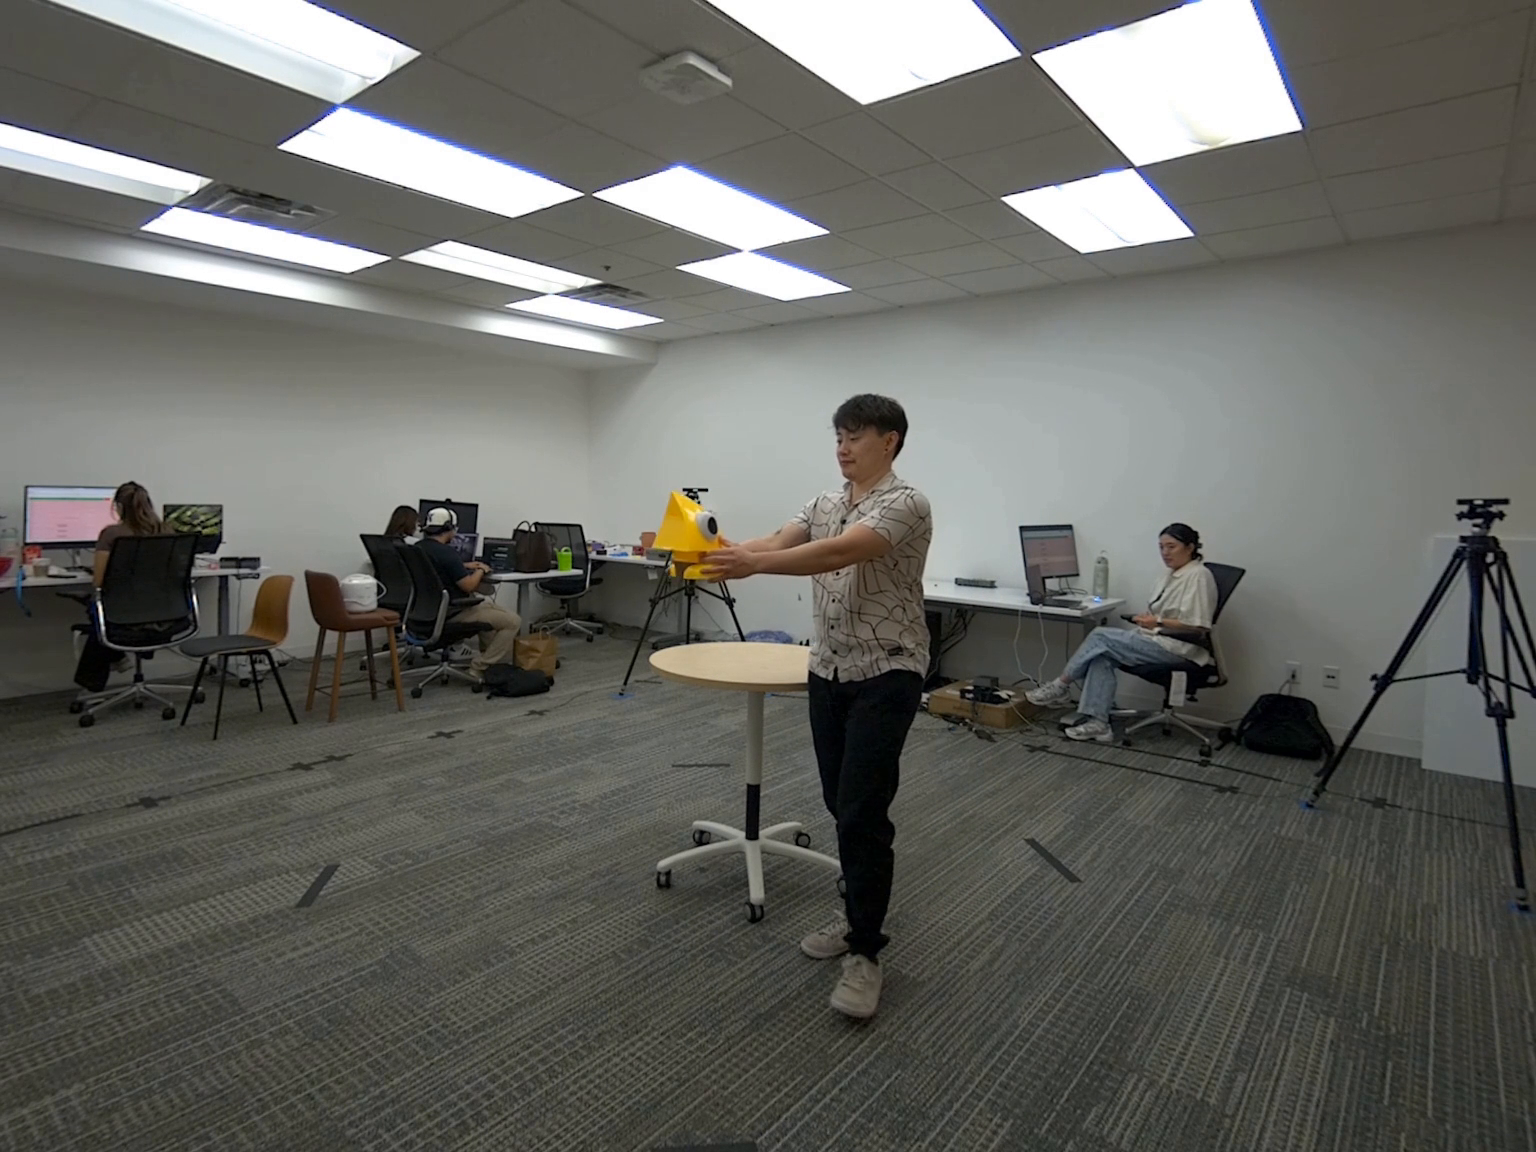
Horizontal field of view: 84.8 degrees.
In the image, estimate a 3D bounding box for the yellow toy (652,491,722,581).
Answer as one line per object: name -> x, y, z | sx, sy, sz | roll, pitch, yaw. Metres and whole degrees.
yellow toy -> -0.197, -0.123, 2.273 | 0.188, 0.229, 0.211 | -10, 8, -31
